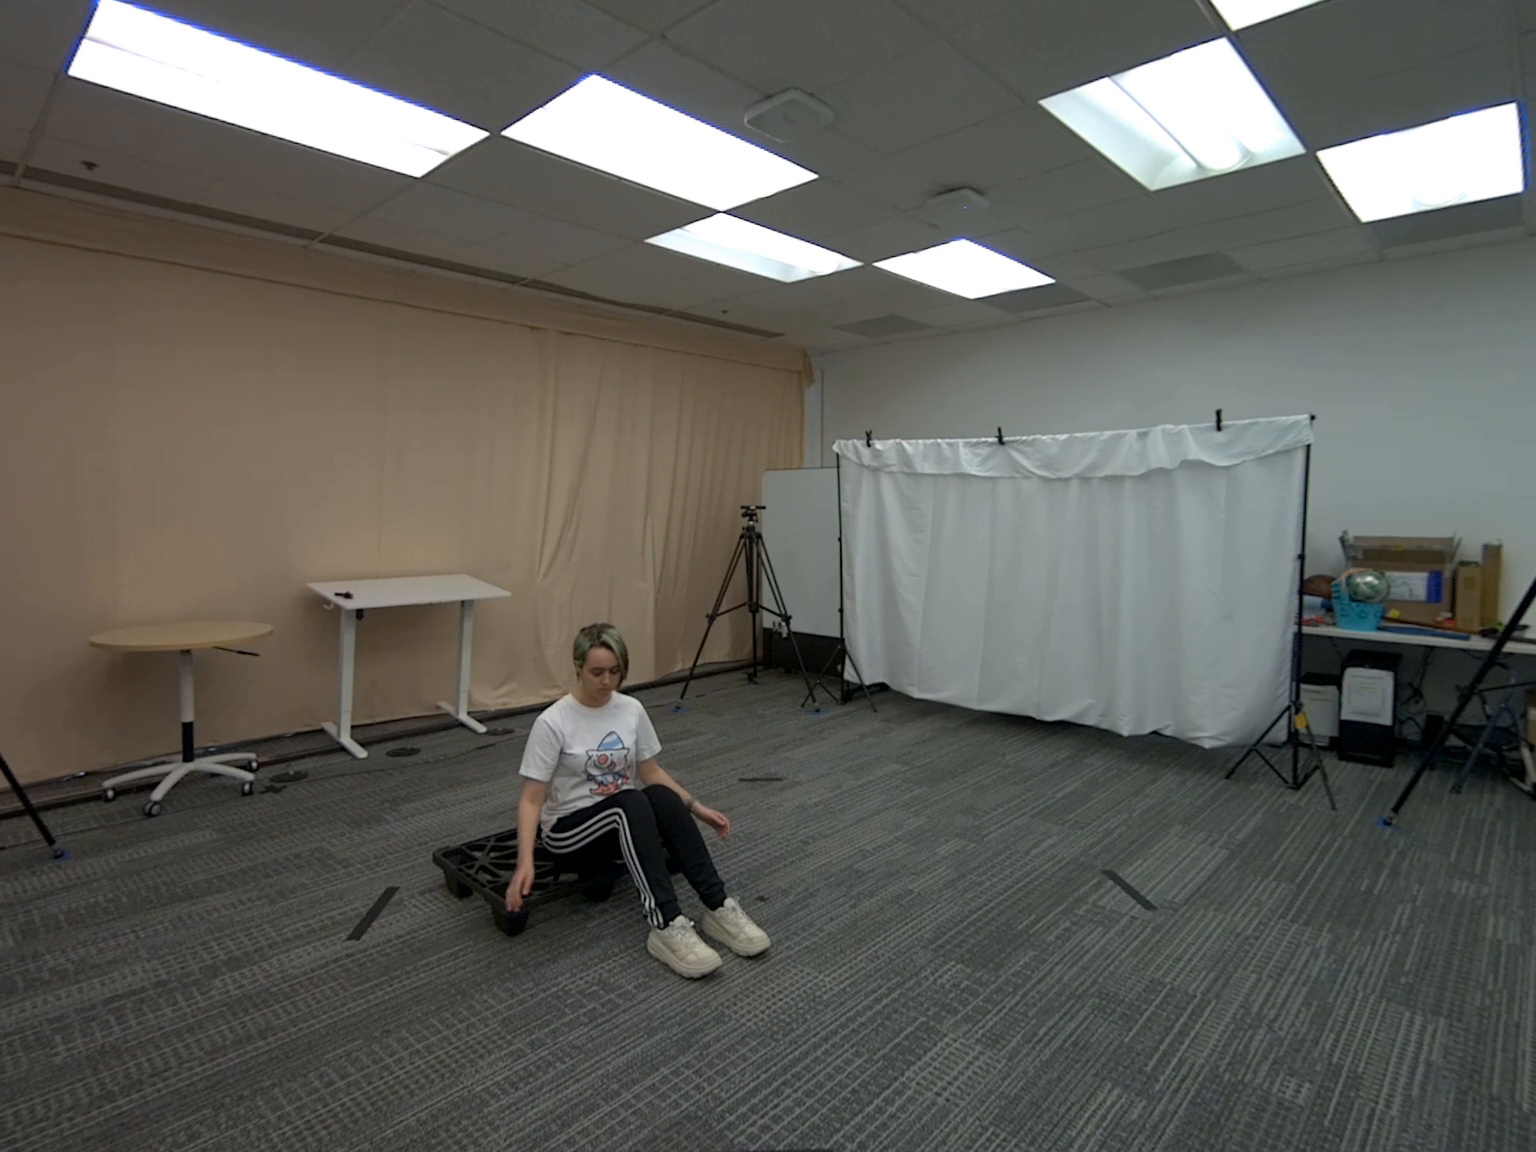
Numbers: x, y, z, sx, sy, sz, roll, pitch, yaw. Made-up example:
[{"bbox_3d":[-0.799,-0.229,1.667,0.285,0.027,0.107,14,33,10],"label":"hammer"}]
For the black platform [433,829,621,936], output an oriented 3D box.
[{"bbox_3d":[-0.744,1.069,3.144,0.781,0.143,0.625,-6,7,-43],"label":"black platform"}]
